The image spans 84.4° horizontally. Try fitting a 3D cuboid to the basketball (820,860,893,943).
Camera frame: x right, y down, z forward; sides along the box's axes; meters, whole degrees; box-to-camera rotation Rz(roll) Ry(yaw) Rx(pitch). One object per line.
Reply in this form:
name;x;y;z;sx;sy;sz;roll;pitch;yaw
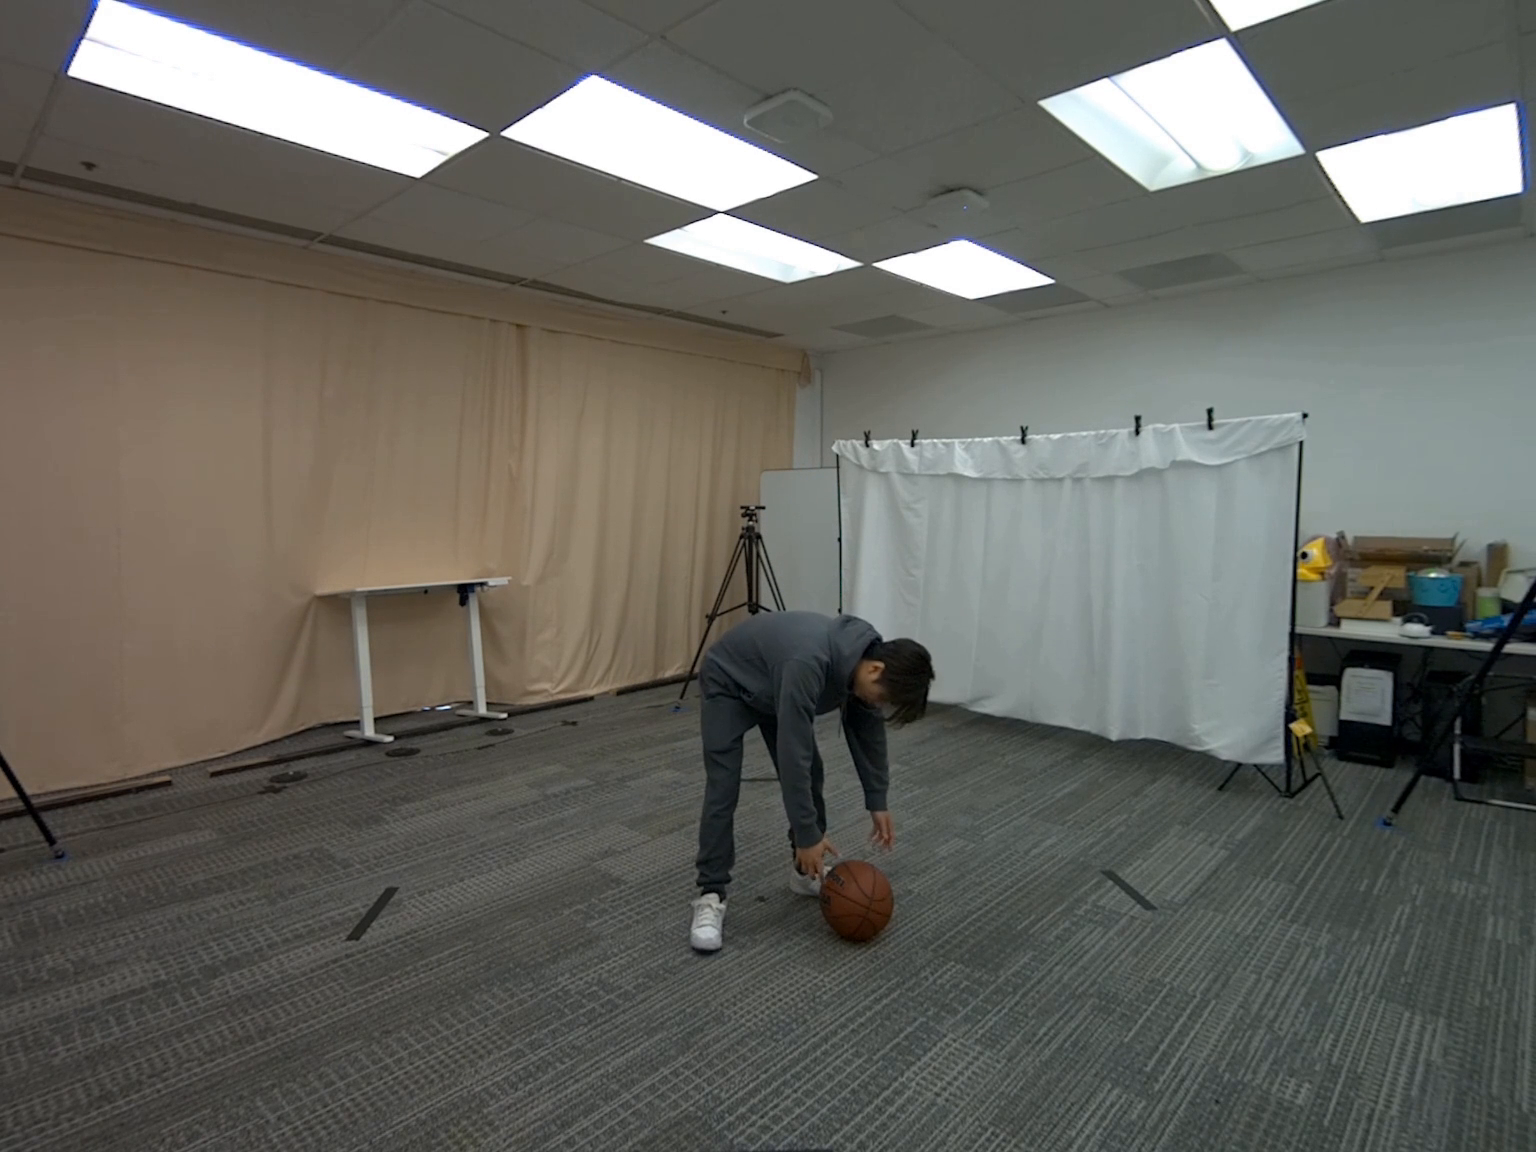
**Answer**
basketball;0.293;1.041;2.726;0.236;0.235;0.237;0;4;-2
